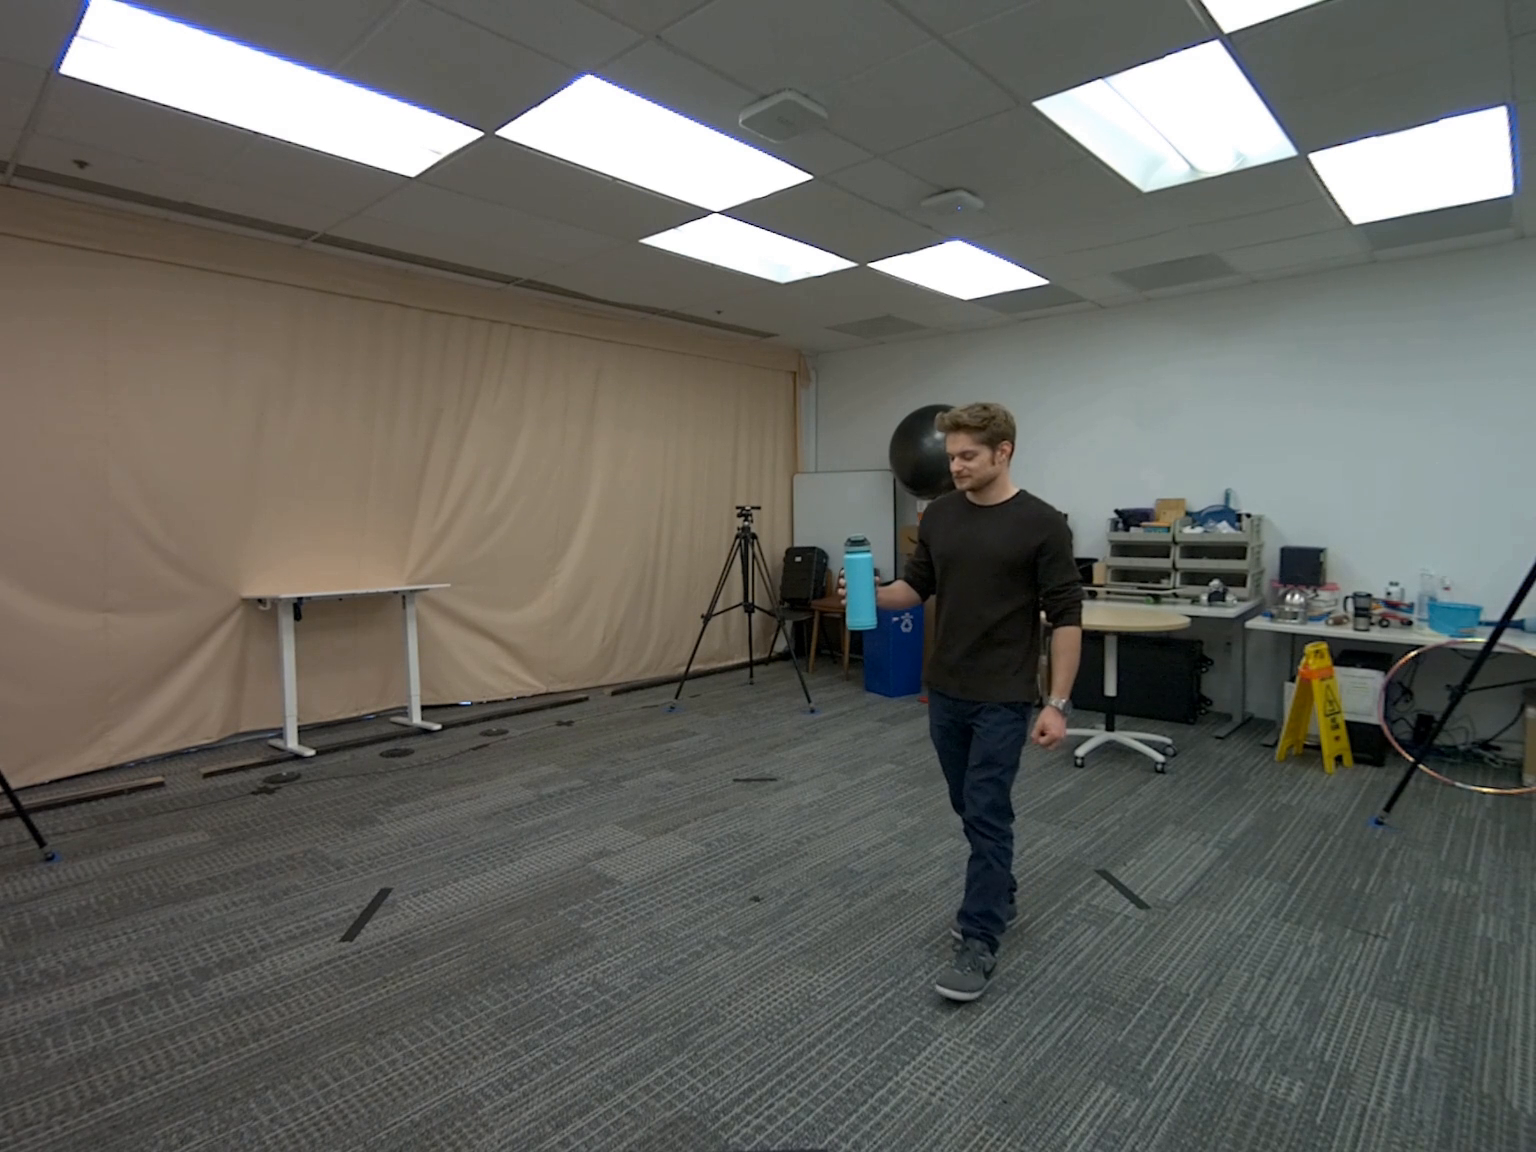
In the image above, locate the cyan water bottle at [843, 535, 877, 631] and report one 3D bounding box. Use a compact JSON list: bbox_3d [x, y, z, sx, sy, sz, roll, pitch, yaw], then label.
[{"bbox_3d":[0.288,0.014,2.538,0.092,0.283,0.092,-6,-1,-2],"label":"cyan water bottle"}]
